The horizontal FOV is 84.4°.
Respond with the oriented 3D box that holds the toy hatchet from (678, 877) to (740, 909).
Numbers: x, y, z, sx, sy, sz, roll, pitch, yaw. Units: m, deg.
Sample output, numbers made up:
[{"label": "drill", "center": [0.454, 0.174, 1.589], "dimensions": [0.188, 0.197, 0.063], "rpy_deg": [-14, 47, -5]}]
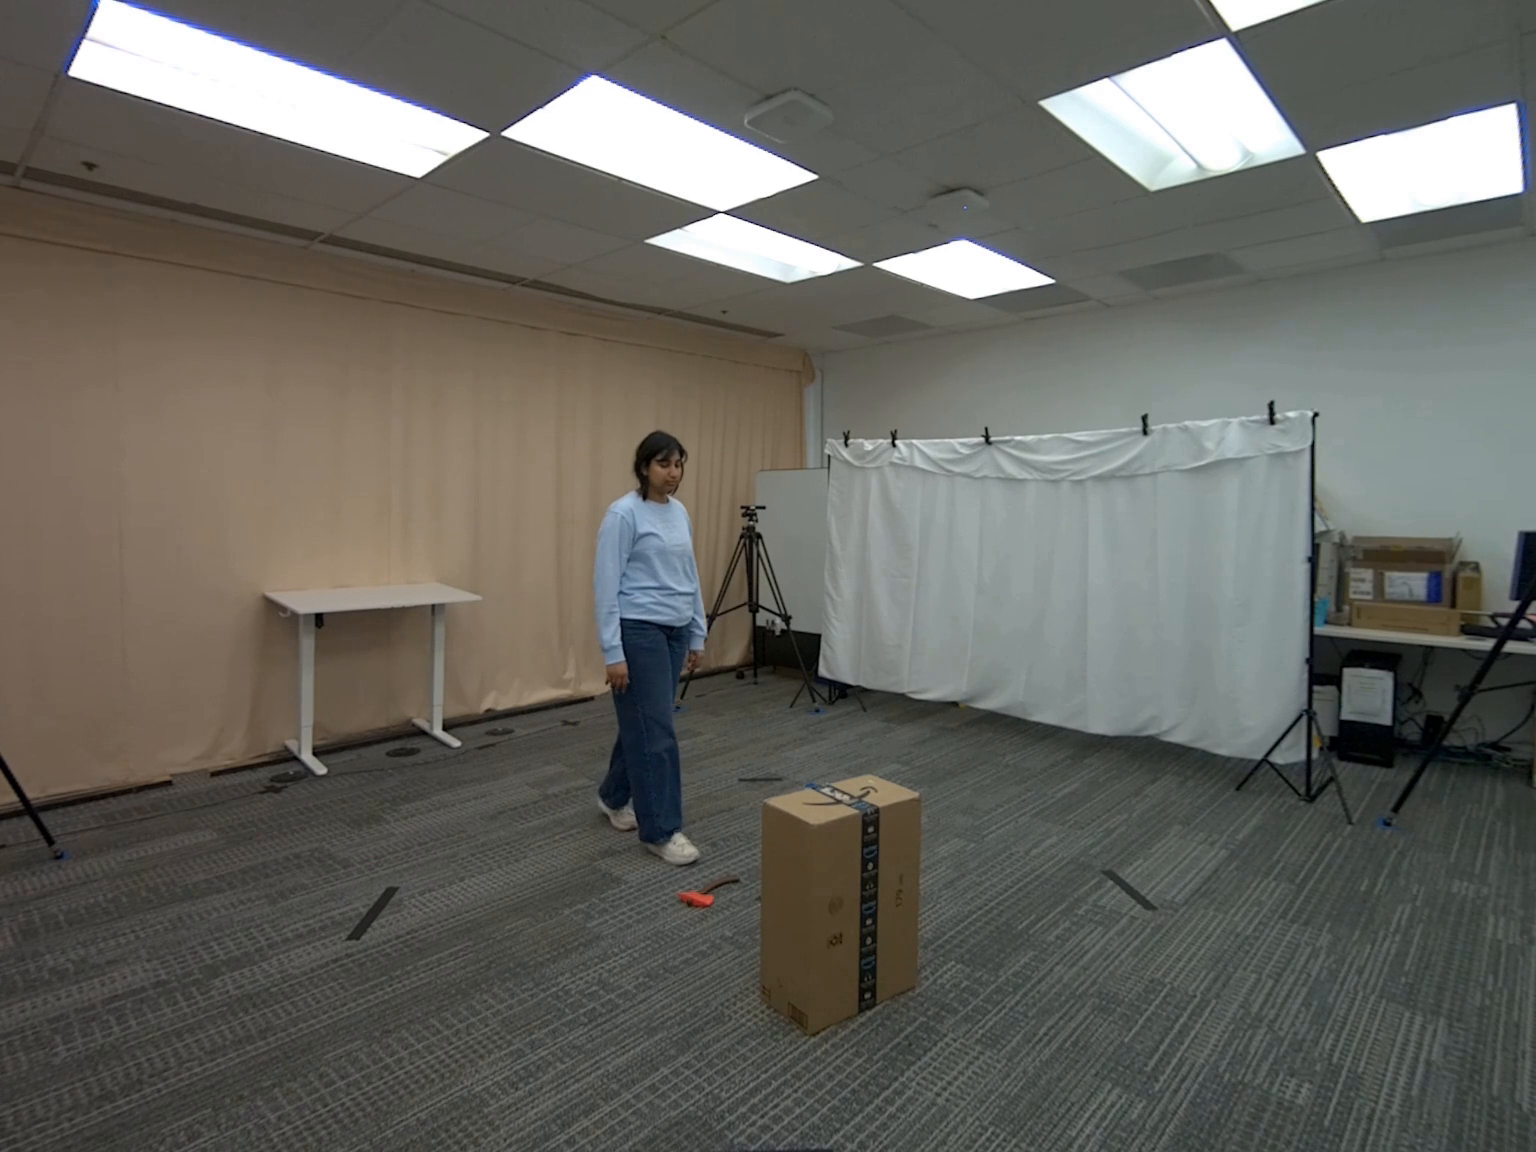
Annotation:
[{"label": "toy hatchet", "center": [-0.181, 1.127, 3.014], "dimensions": [0.262, 0.029, 0.135], "rpy_deg": [-3, 5, -40]}]
